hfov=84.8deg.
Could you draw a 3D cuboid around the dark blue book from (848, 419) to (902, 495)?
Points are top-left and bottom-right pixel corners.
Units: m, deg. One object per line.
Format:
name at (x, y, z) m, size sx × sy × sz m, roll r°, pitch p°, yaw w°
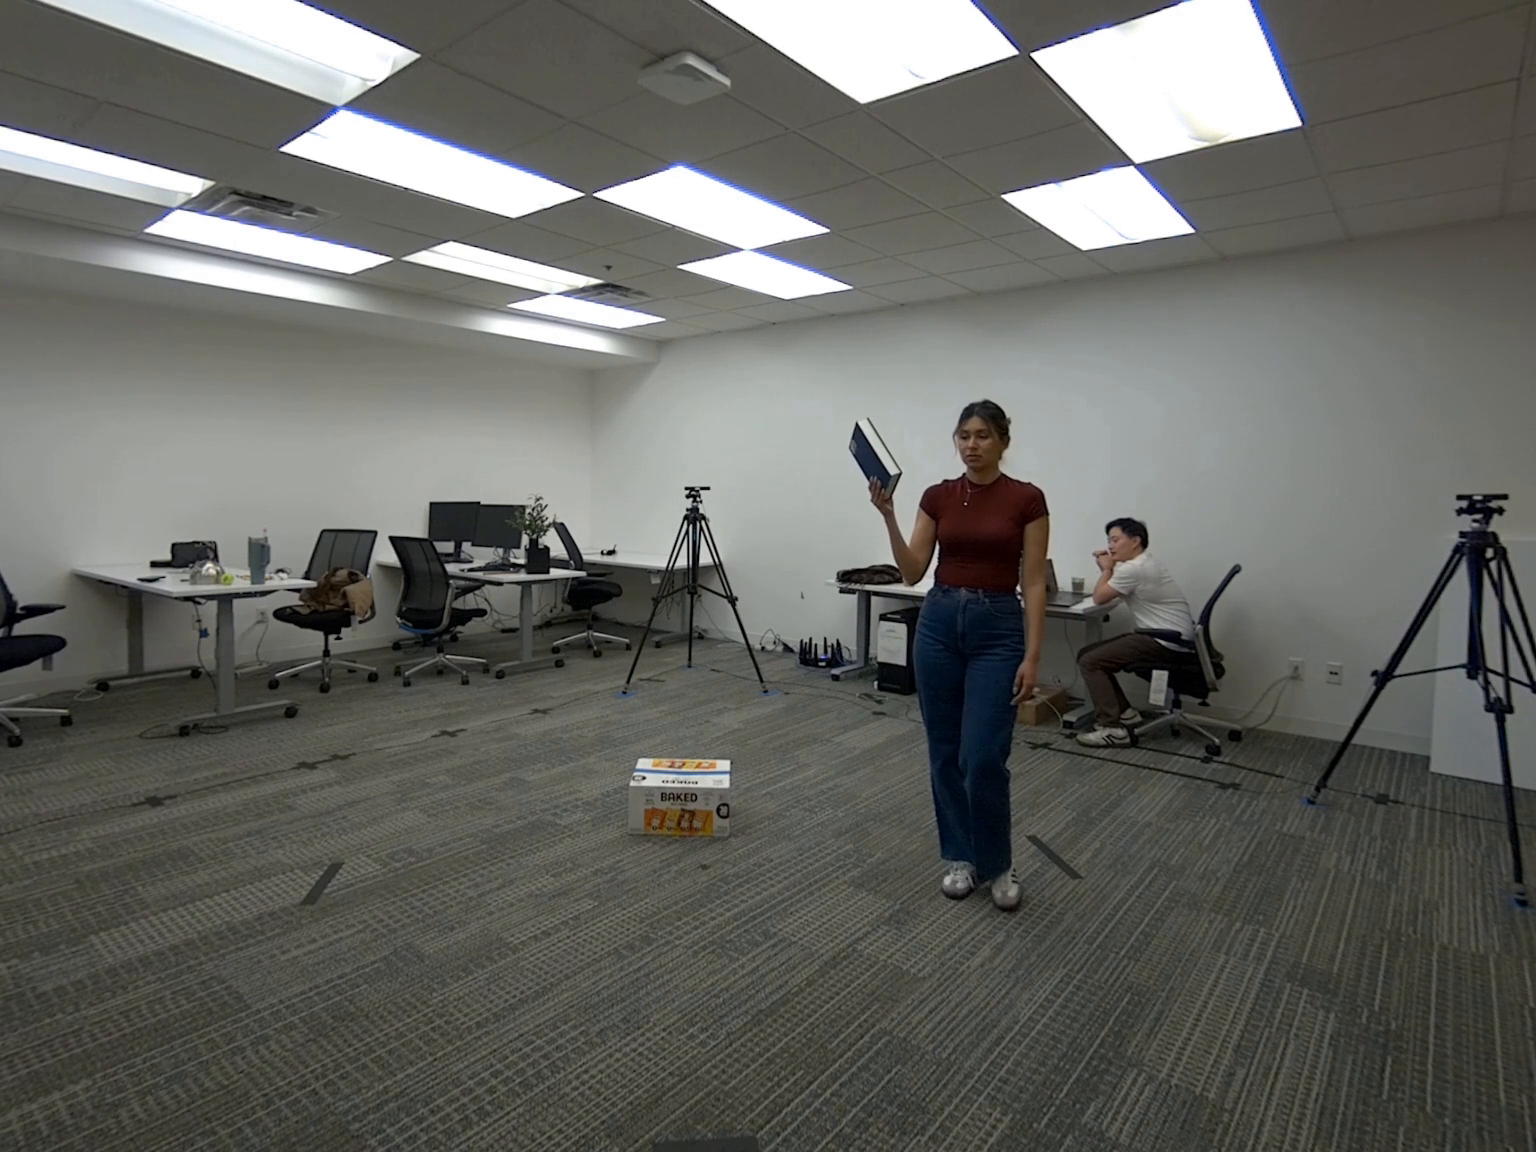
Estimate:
dark blue book at (0.359, -0.399, 2.908) m, size 0.045 × 0.253 × 0.159 m, roll -18°, pitch -27°, yaw -13°
